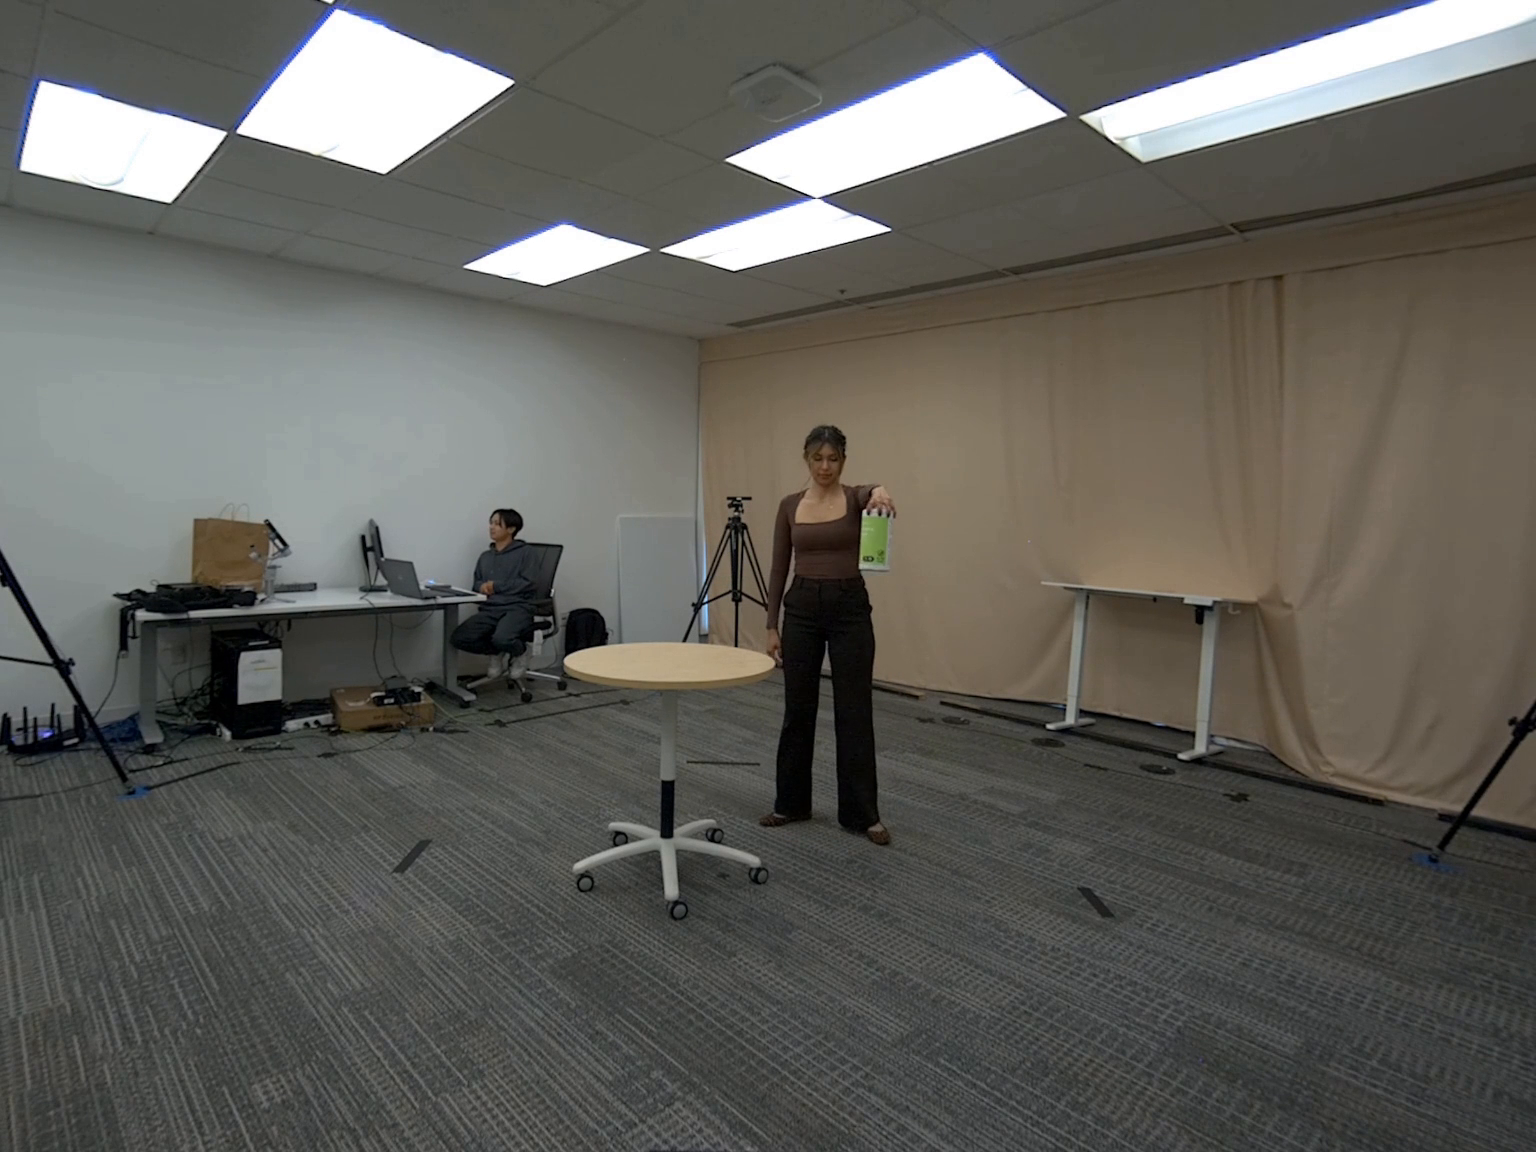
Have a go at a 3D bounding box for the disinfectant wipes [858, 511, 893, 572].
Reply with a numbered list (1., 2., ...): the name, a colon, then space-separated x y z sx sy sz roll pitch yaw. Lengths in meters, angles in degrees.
1. disinfectant wipes: 0.373 -0.124 2.981 0.118 0.218 0.117 3 -2 -1
